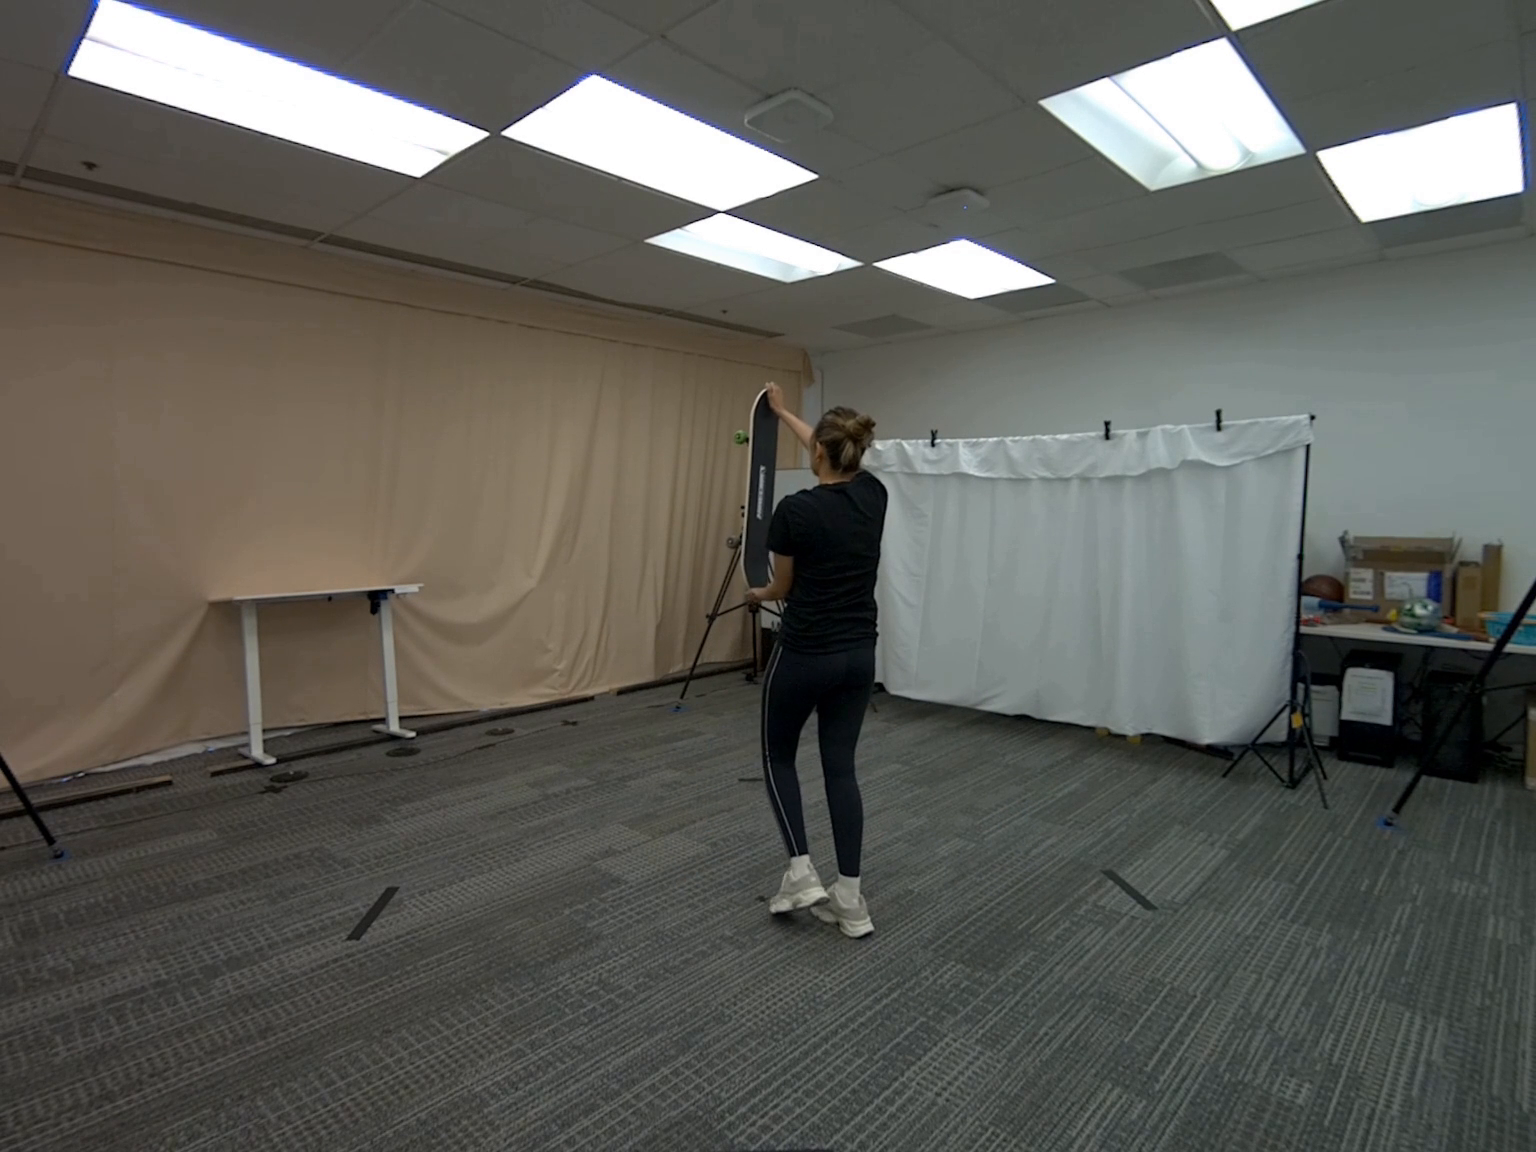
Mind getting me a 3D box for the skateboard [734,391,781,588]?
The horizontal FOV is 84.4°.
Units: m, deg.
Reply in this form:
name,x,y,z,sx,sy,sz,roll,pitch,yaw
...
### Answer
name,x,y,z,sx,sy,sz,roll,pitch,yaw
skateboard,-0.052,-0.320,3.237,0.114,0.786,0.187,2,-2,32
